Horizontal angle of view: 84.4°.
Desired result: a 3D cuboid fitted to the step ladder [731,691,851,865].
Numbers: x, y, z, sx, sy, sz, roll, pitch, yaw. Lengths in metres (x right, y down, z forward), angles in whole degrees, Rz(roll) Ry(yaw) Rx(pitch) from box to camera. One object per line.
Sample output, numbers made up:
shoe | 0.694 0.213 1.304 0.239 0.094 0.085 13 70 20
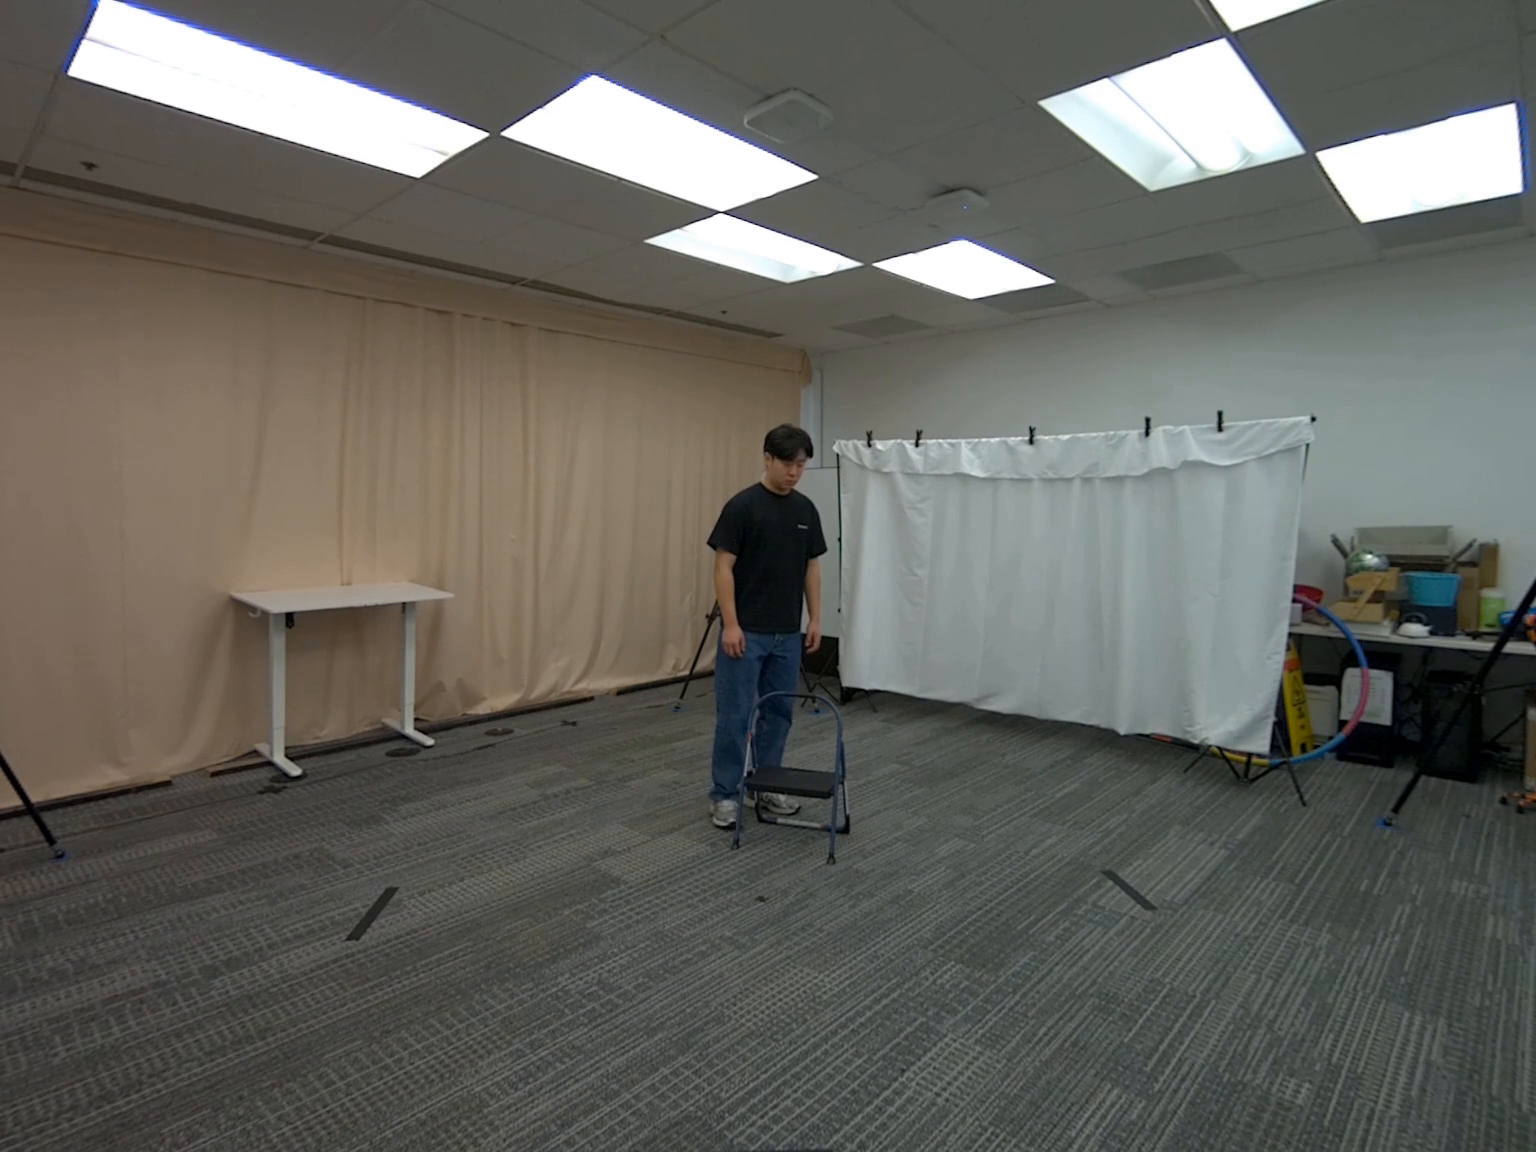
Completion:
step ladder | 0.115 0.800 3.488 0.439 0.605 0.343 2 3 19
